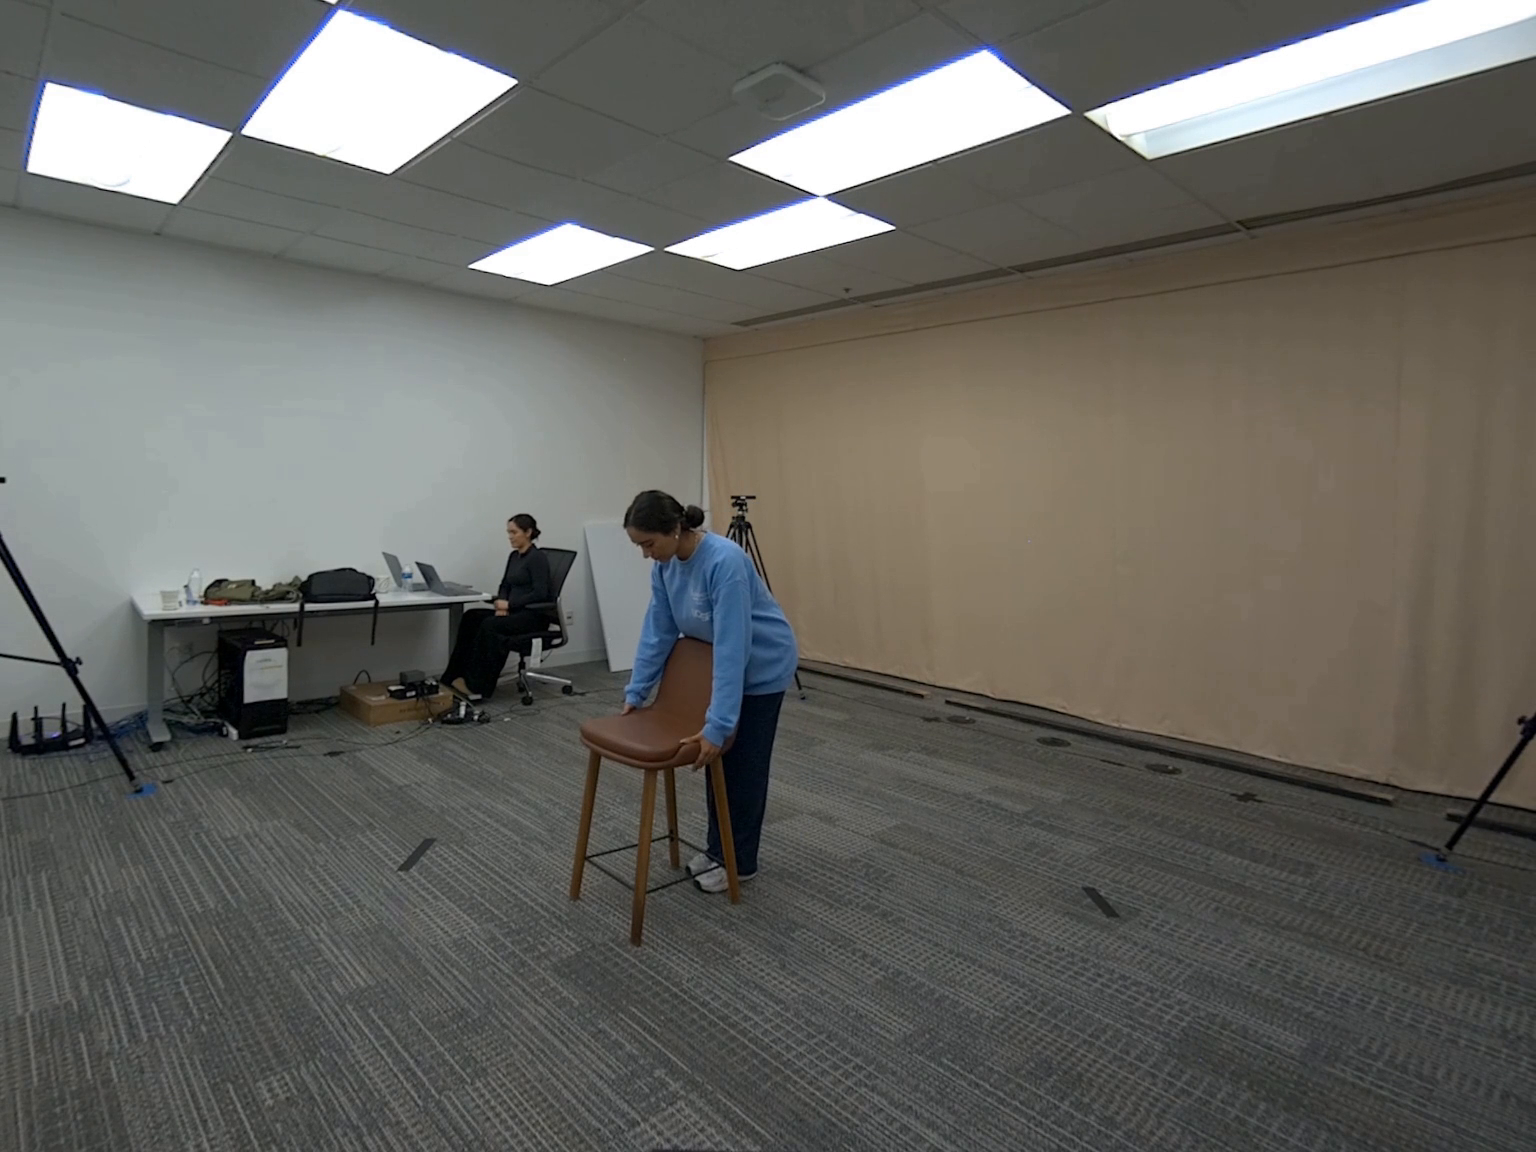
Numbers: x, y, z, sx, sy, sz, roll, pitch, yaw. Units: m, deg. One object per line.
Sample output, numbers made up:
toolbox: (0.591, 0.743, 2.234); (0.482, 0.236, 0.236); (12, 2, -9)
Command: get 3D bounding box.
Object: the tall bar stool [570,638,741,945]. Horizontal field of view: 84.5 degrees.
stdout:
tall bar stool: (-0.373, 0.685, 2.863); (0.456, 0.888, 0.468); (1, 3, -42)
